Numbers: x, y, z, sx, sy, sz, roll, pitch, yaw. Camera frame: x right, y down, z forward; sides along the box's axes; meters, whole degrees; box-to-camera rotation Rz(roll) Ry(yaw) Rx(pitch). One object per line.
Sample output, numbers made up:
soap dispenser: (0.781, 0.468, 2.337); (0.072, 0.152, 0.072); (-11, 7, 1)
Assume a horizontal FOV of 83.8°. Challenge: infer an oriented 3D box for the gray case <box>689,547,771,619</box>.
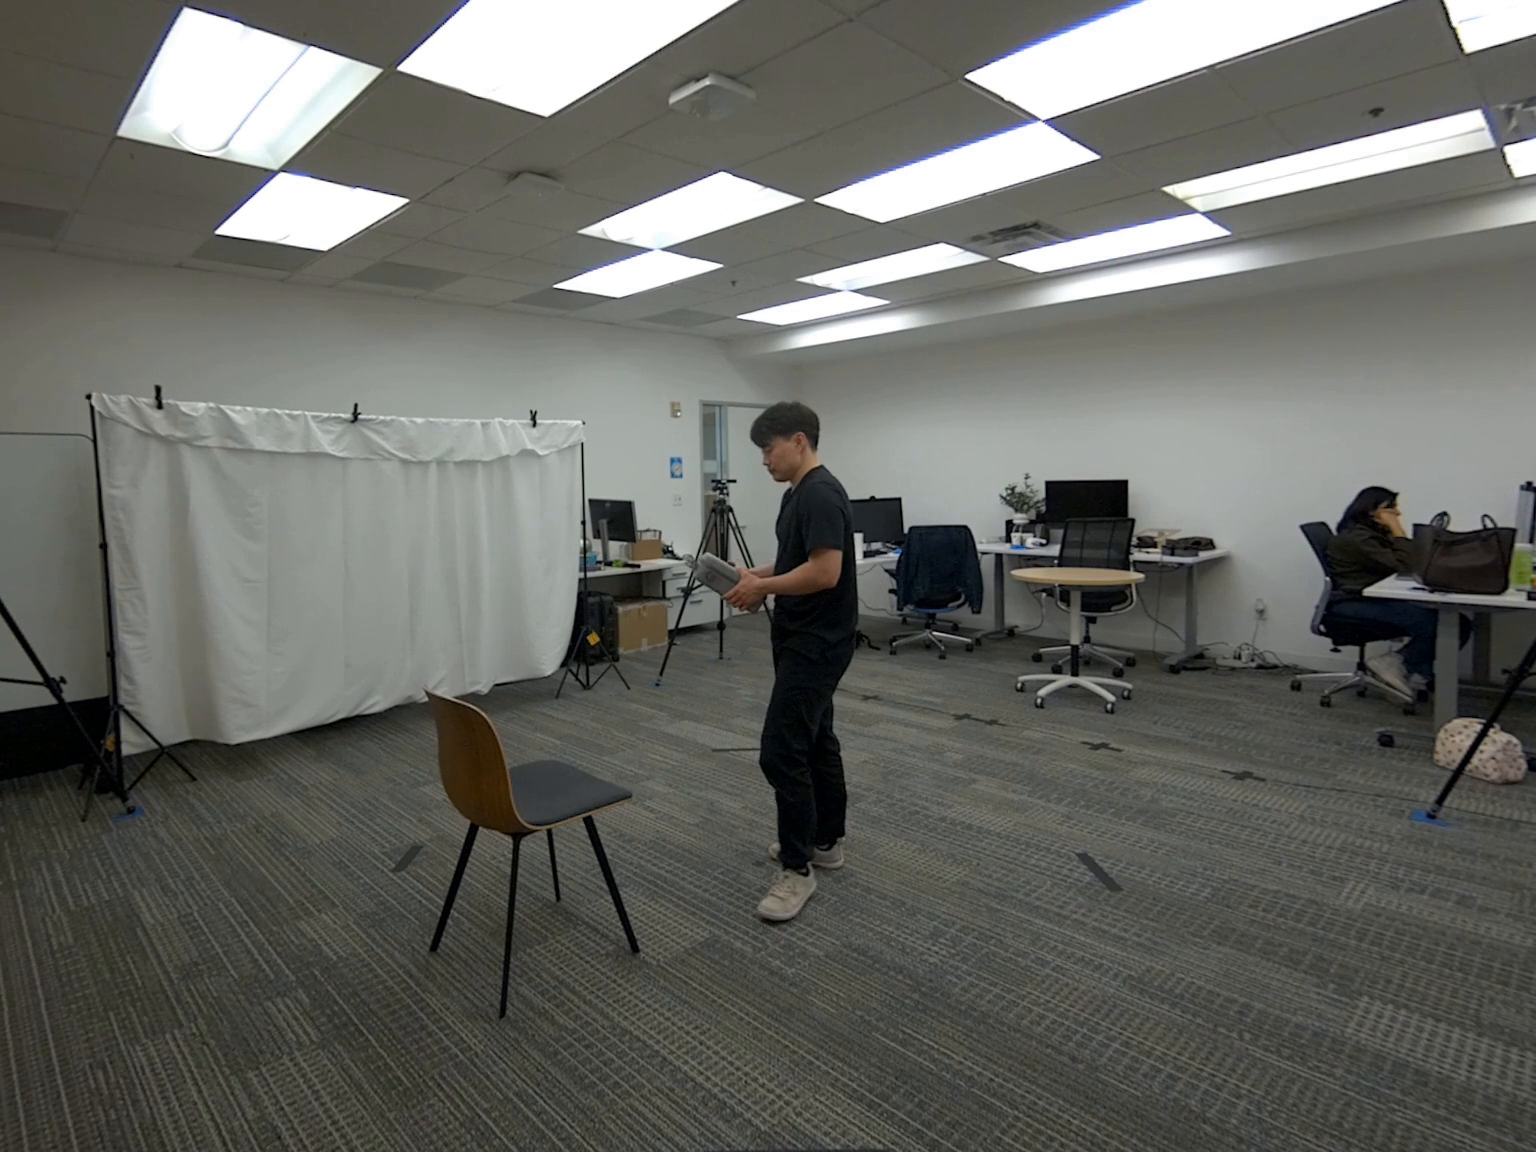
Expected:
gray case: (-0.135, 0.018, 2.977); (0.259, 0.104, 0.258); (31, 1, -5)
